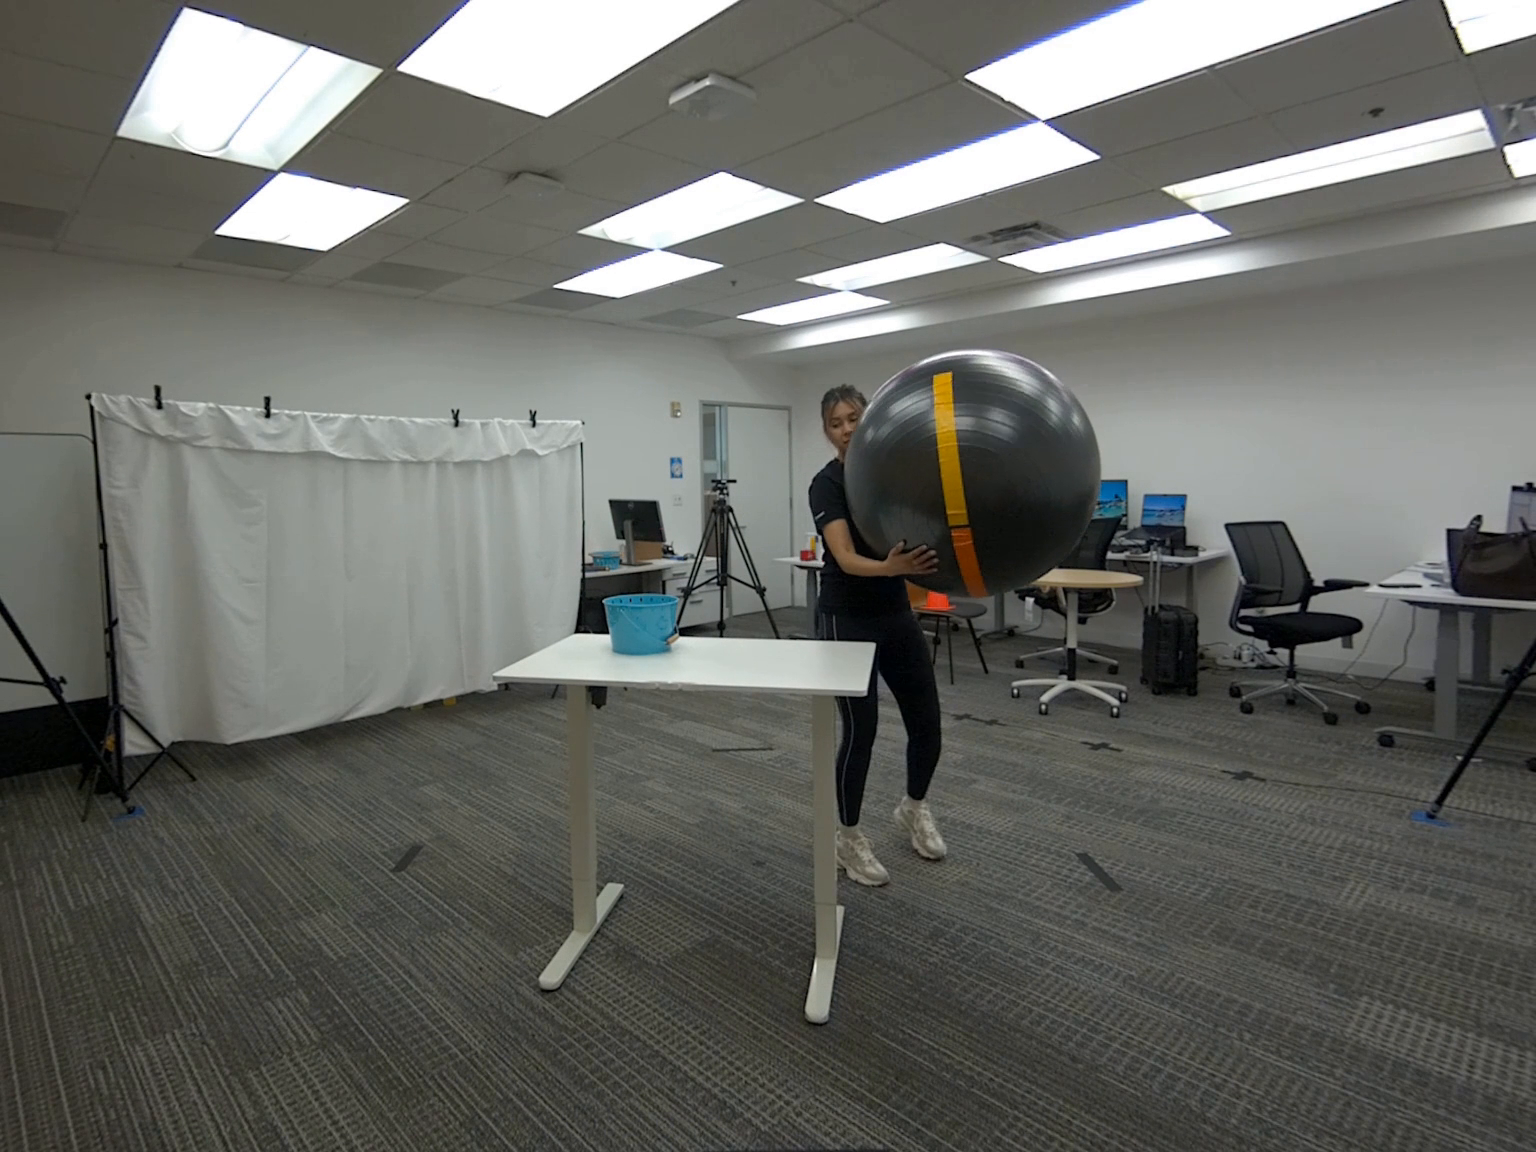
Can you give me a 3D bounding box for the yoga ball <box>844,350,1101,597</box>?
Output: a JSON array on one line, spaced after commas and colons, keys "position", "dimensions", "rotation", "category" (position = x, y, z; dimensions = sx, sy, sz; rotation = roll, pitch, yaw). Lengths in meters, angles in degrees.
[{"position": [0.618, -0.311, 2.639], "dimensions": [0.757, 0.755, 0.762], "rotation": [-1, 5, -2], "category": "yoga ball"}]
